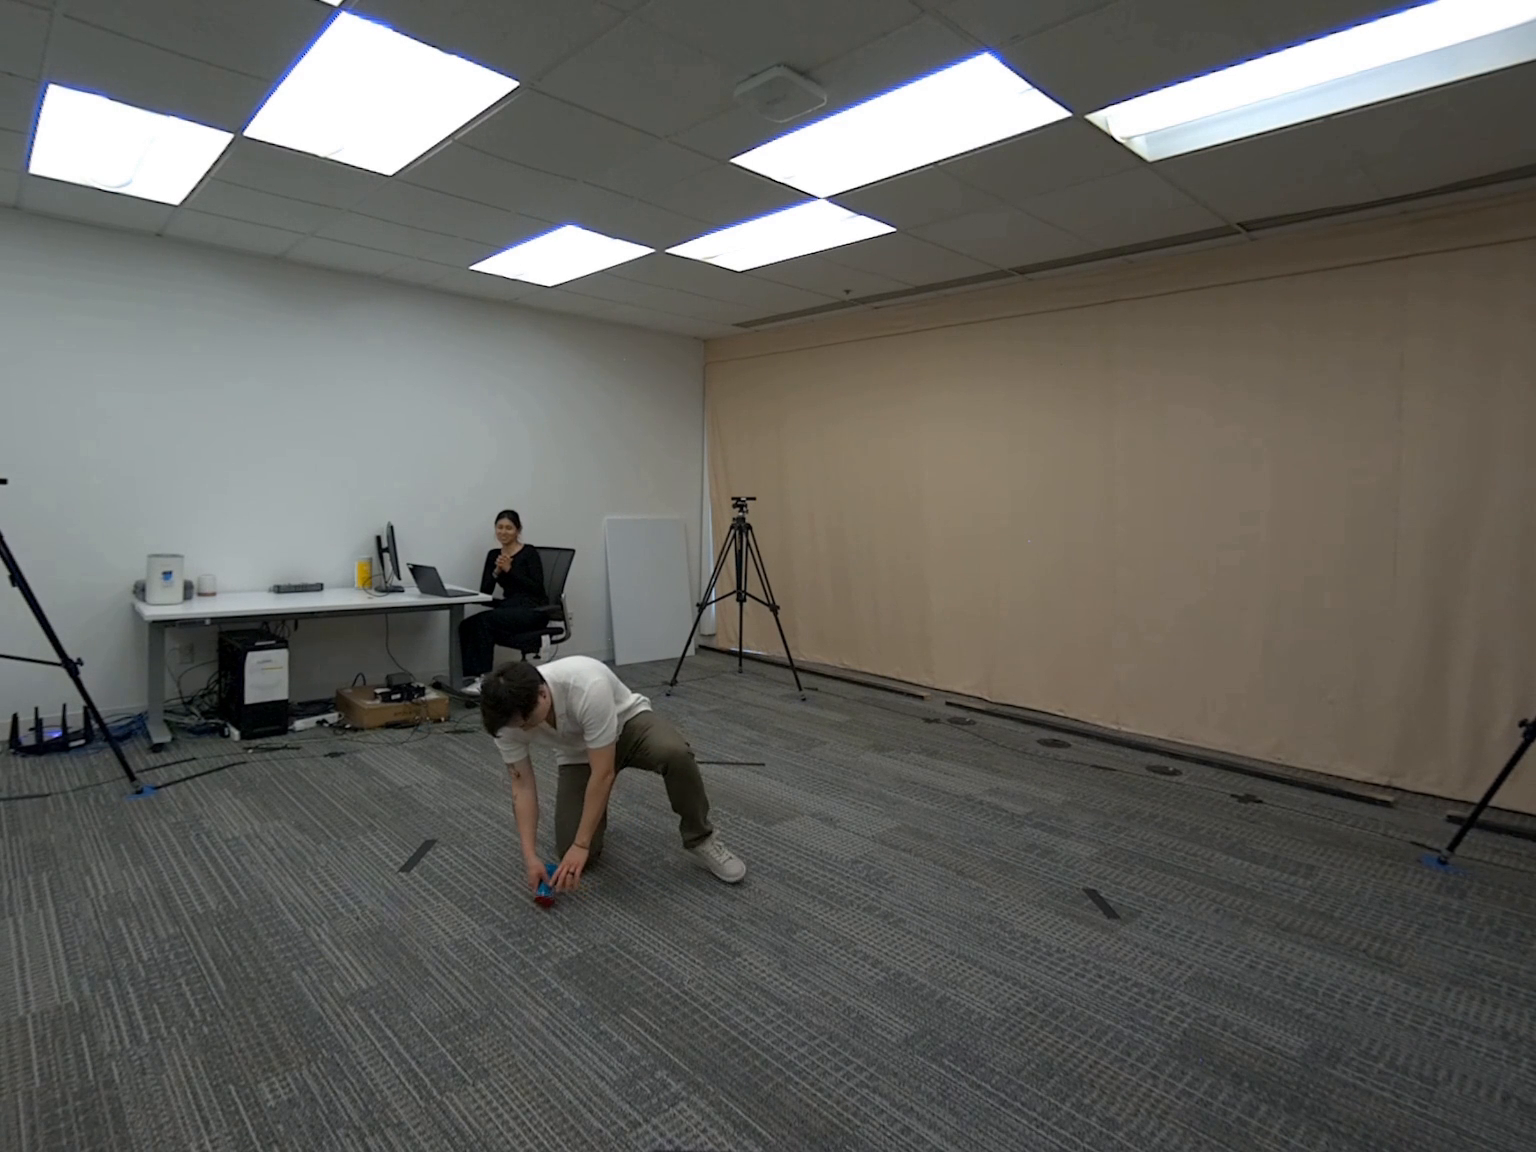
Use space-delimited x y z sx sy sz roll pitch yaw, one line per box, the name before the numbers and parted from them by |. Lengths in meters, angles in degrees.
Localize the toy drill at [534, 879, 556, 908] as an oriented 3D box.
toy drill | -0.736 1.081 2.887 0.167 0.061 0.148 27 25 -13
